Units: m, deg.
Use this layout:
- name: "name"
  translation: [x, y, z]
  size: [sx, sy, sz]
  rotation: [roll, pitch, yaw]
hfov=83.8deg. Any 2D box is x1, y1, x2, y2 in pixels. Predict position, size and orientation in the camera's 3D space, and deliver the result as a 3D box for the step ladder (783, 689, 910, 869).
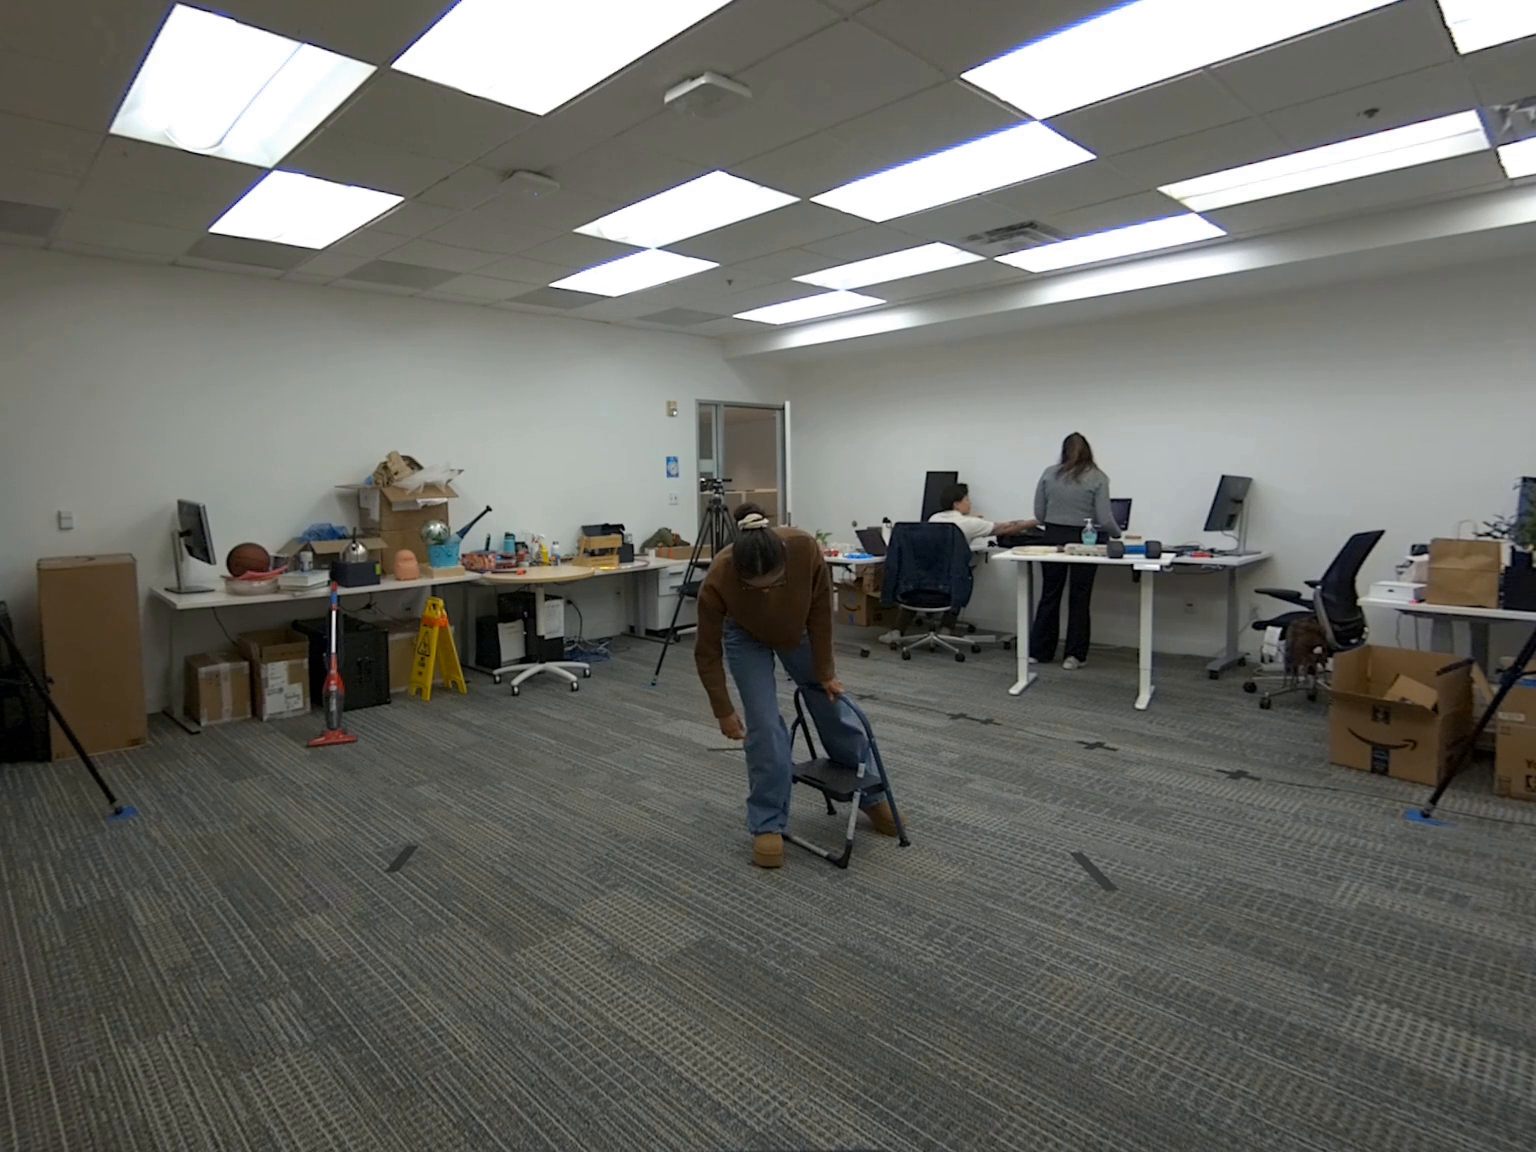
- name: "step ladder"
  translation: [0.268, 0.716, 3.284]
  size: [0.340, 0.604, 0.444]
  rotation: [-5, 6, -39]
